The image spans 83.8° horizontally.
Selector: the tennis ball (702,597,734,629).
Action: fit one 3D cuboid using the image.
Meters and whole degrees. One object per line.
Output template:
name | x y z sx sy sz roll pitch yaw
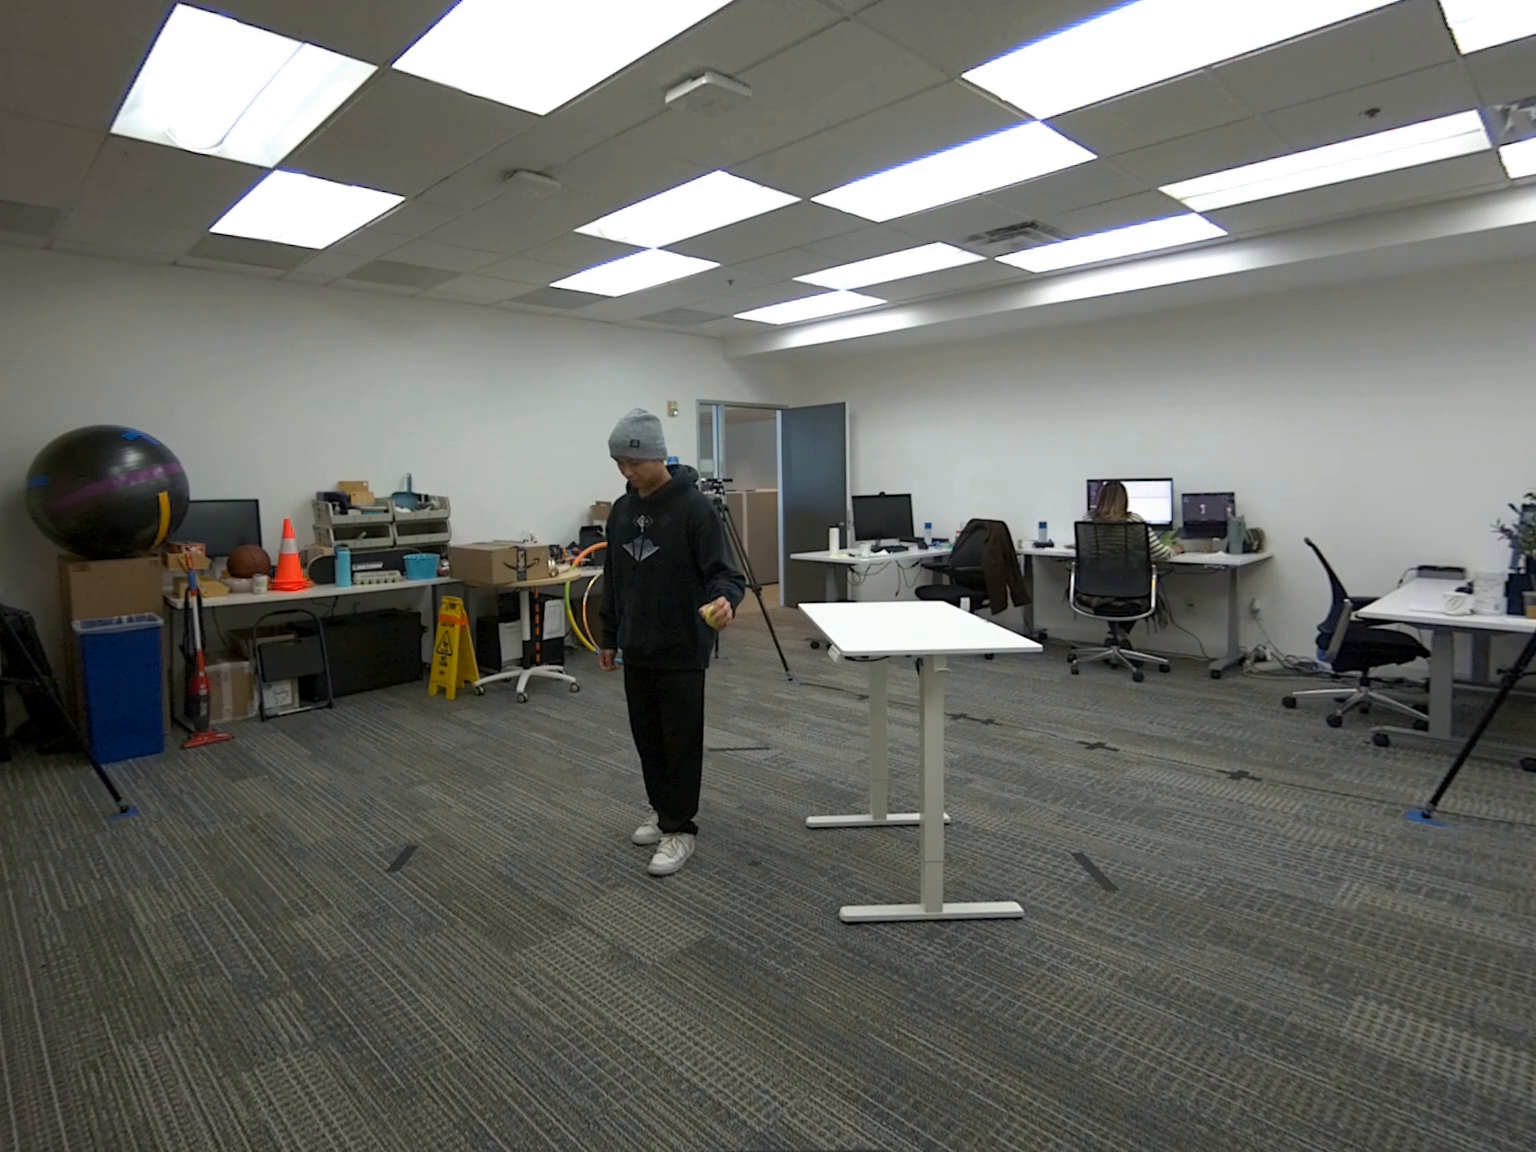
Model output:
tennis ball | -0.144 0.101 2.671 0.066 0.066 0.067 -1 5 -2
